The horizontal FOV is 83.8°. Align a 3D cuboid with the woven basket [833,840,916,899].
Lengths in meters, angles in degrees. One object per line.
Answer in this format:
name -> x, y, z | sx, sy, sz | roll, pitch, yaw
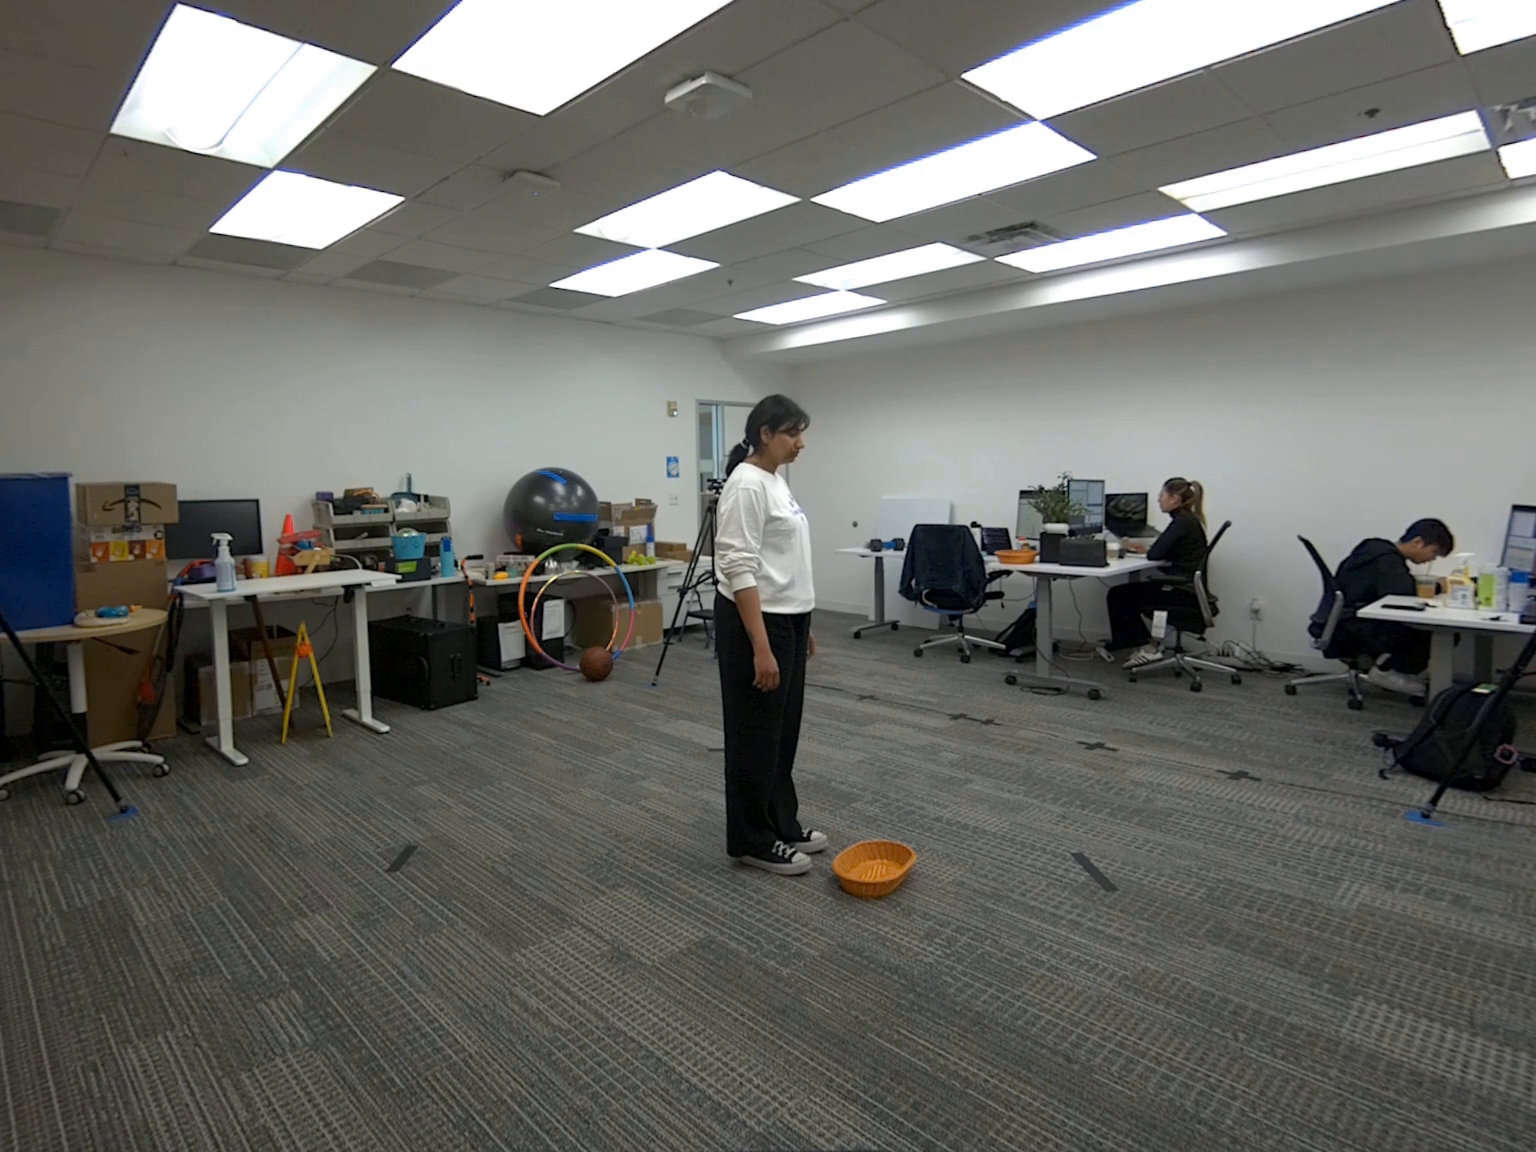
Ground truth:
woven basket -> 0.363, 1.007, 2.969 | 0.259, 0.073, 0.342 | 2, 7, 35
